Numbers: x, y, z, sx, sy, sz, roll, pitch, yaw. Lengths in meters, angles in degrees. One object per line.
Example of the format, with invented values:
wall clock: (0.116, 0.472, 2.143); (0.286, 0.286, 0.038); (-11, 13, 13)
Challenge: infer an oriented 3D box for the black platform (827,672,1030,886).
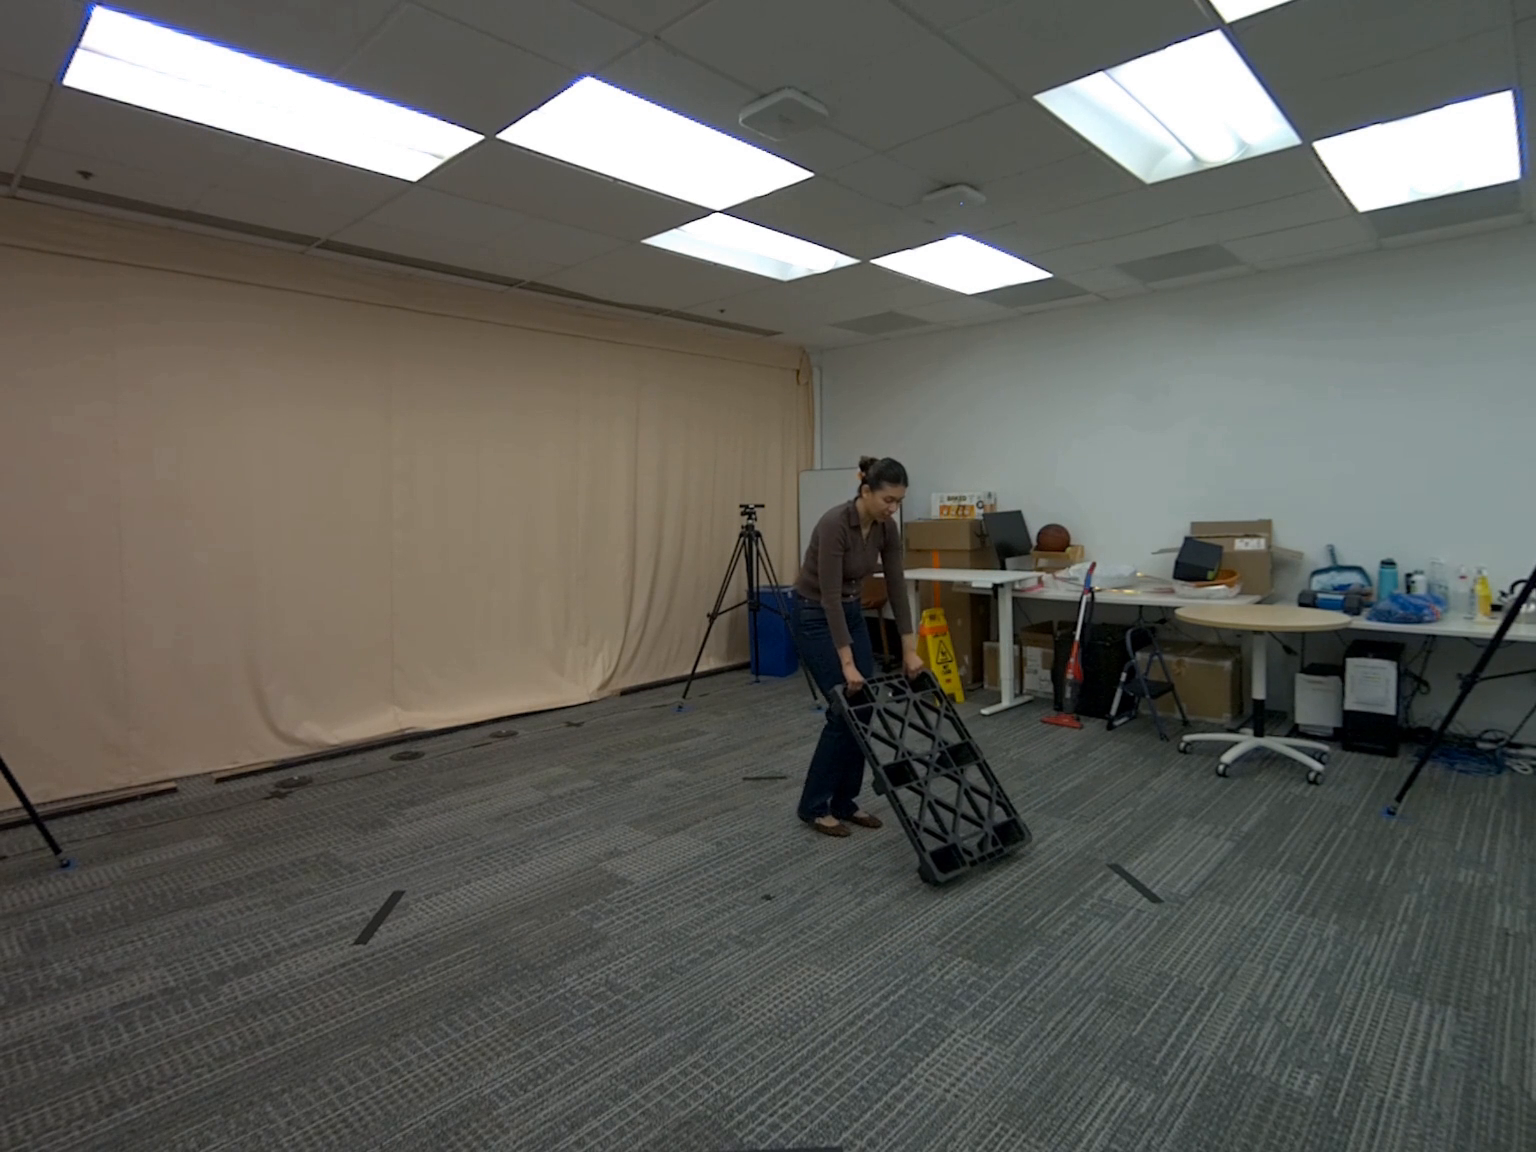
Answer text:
black platform: (0.632, 0.769, 3.355); (0.587, 0.826, 0.144); (-3, -36, -39)
